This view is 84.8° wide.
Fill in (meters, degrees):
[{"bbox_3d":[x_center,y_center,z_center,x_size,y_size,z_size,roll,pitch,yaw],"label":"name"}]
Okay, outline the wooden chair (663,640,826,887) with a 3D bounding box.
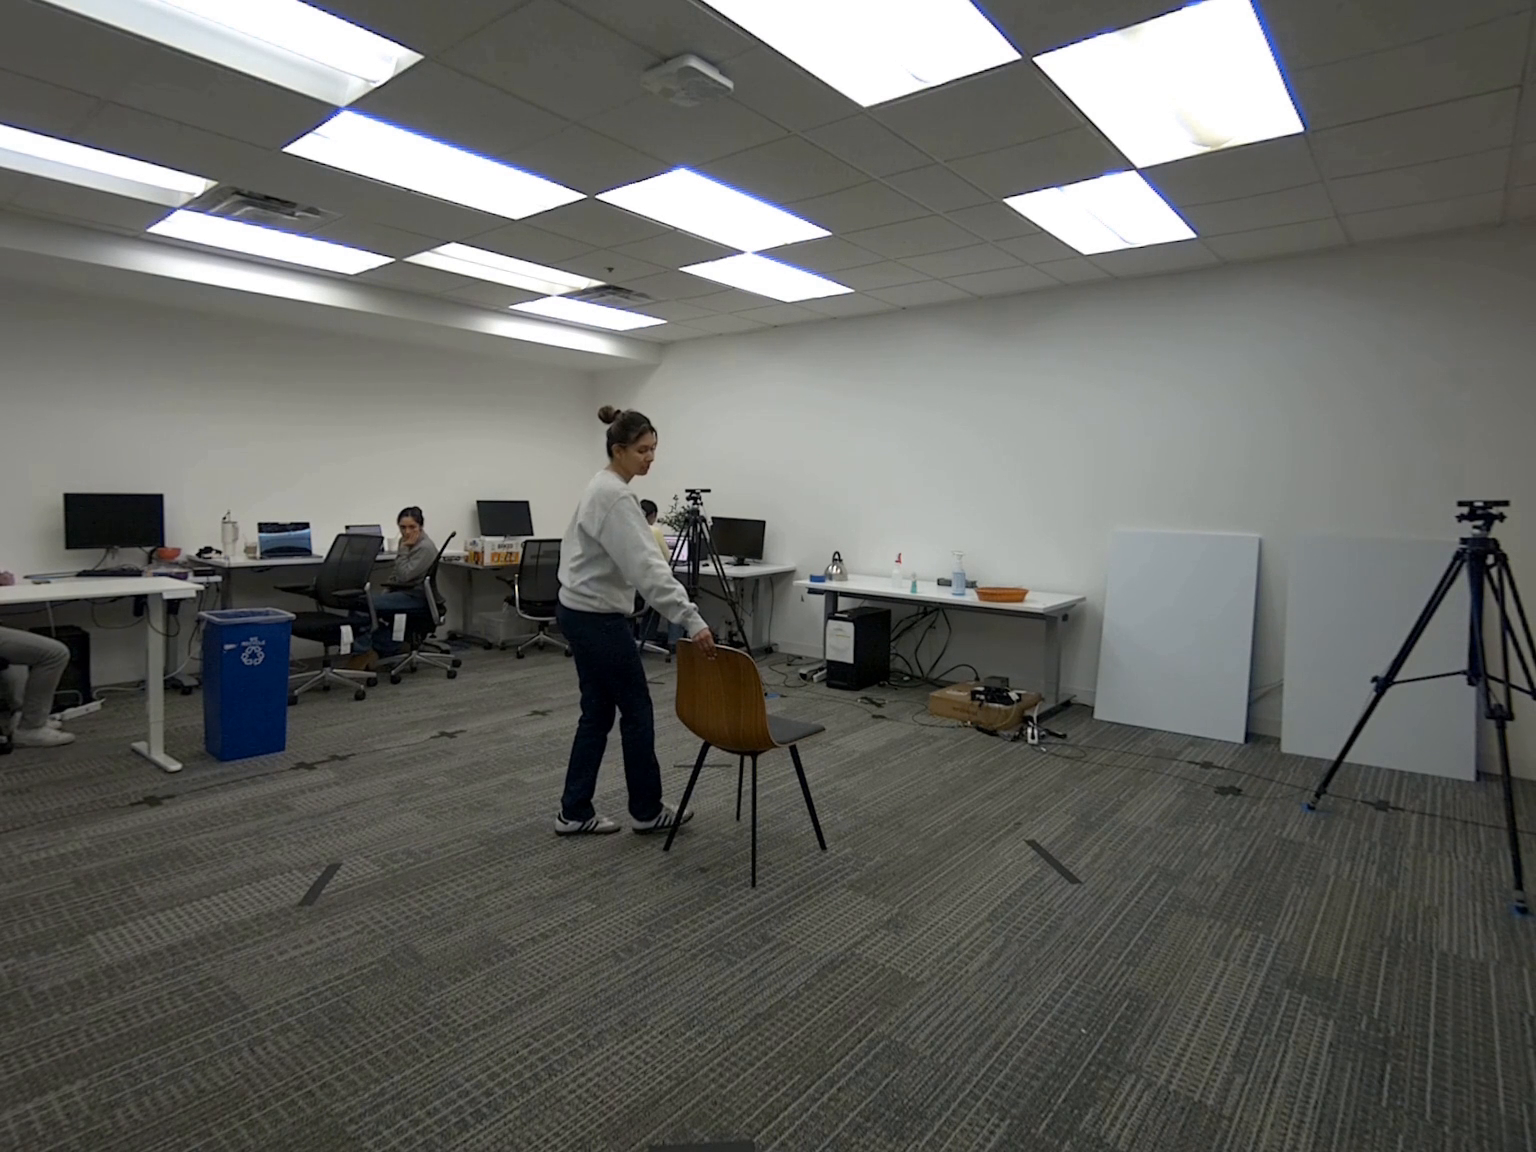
[{"bbox_3d":[-0.081,0.635,3.268,0.494,0.872,0.509,3,8,40],"label":"wooden chair"}]
